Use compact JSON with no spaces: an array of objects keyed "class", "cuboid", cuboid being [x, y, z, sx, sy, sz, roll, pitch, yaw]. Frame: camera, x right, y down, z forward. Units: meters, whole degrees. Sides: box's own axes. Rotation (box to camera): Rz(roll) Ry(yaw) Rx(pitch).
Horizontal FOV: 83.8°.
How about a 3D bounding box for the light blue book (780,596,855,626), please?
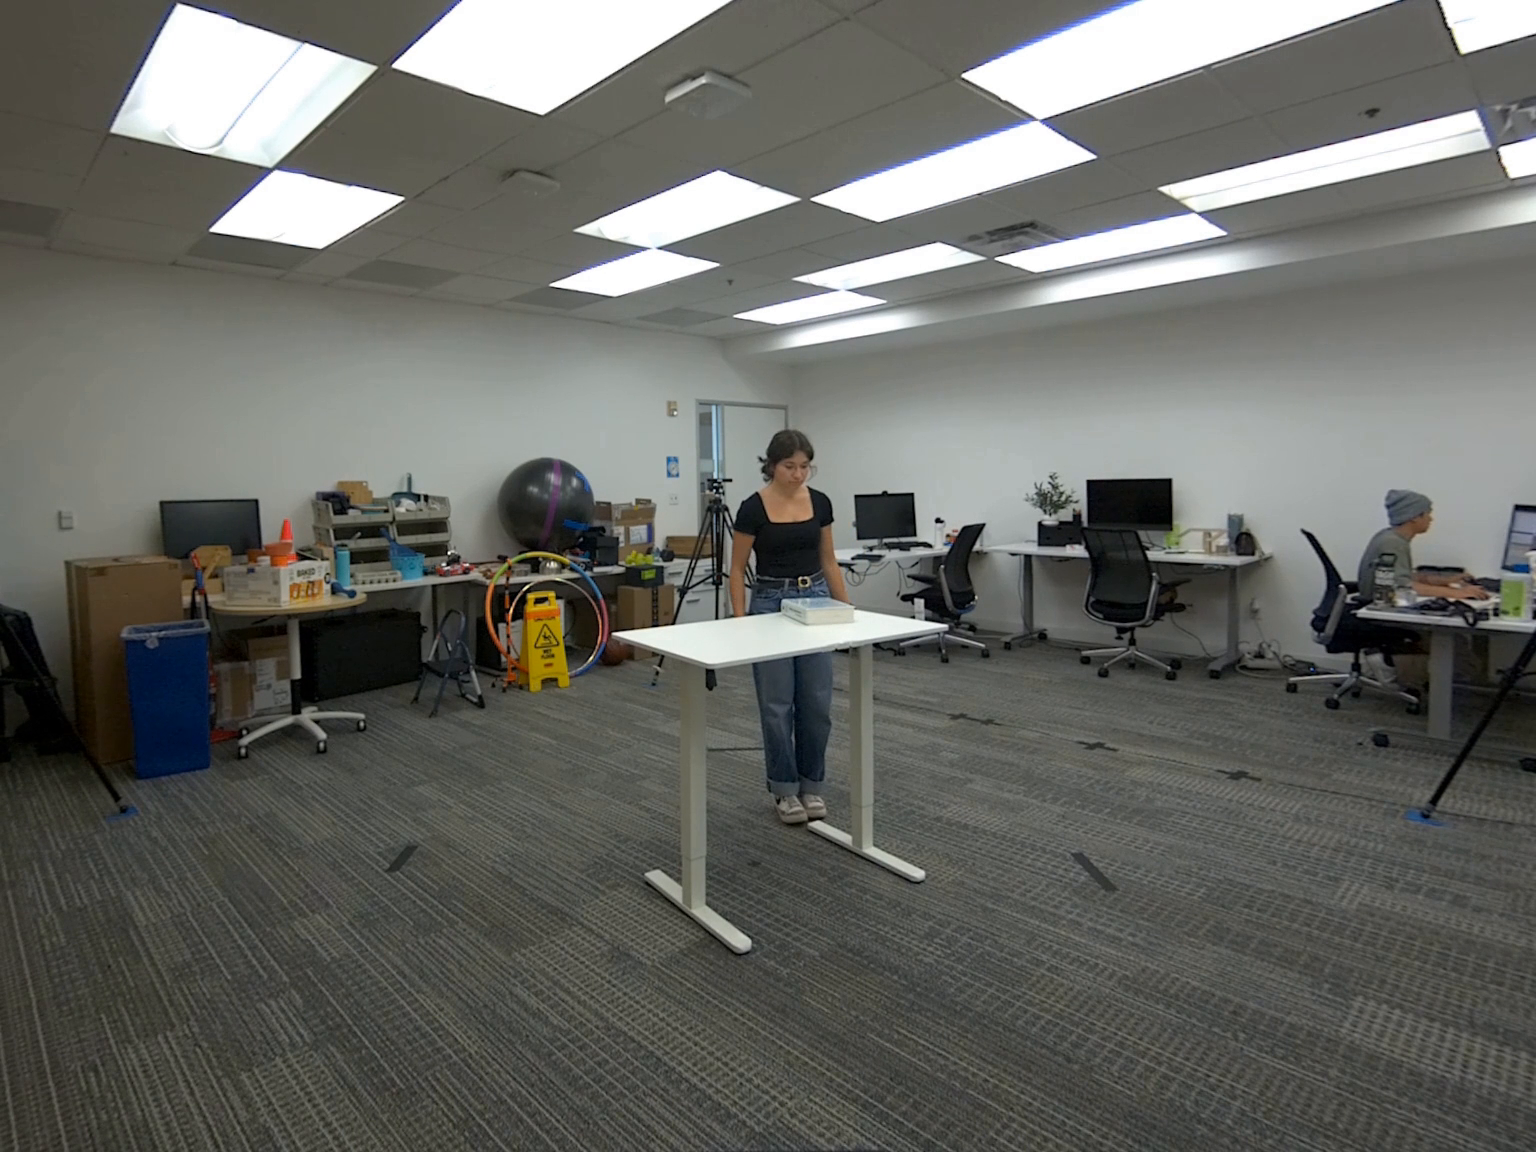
[{"class":"light blue book","cuboid":[0.174,0.129,3.150,0.188,0.059,0.266,-1,6,-19]}]
